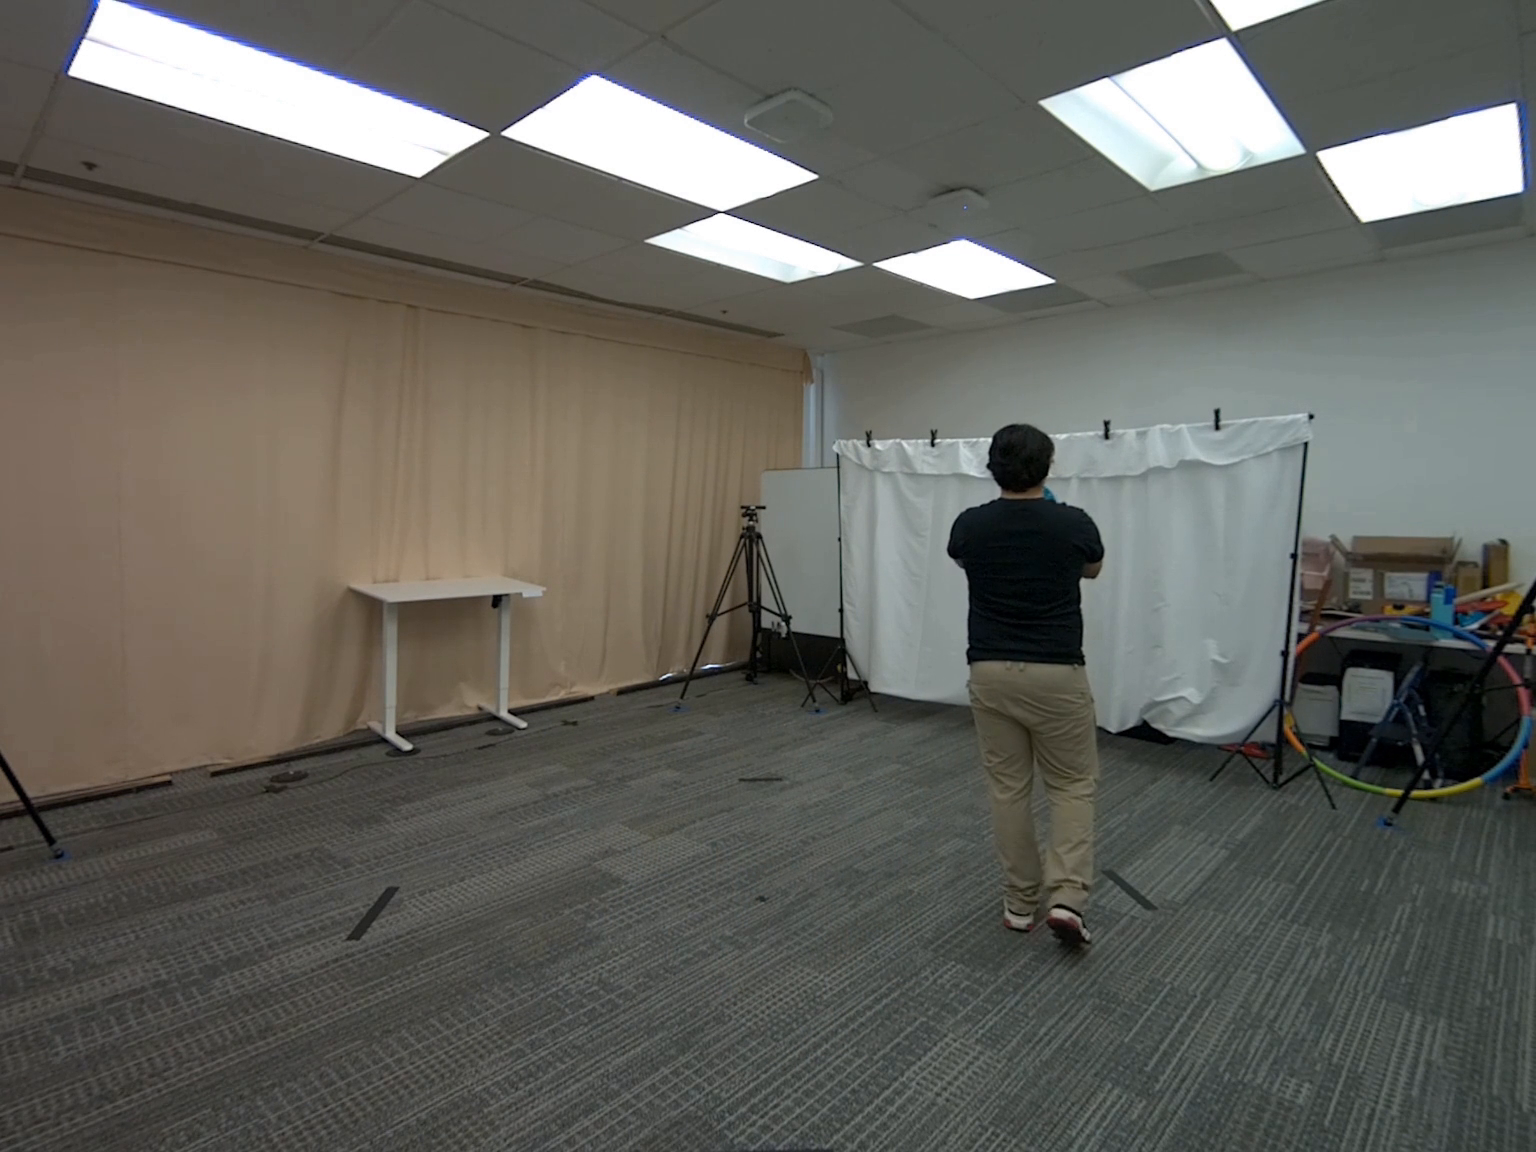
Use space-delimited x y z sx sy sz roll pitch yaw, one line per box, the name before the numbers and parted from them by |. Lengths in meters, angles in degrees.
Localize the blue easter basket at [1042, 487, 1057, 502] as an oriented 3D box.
blue easter basket | 1.001 -0.240 3.276 0.241 0.244 0.157 -1 -4 -11
